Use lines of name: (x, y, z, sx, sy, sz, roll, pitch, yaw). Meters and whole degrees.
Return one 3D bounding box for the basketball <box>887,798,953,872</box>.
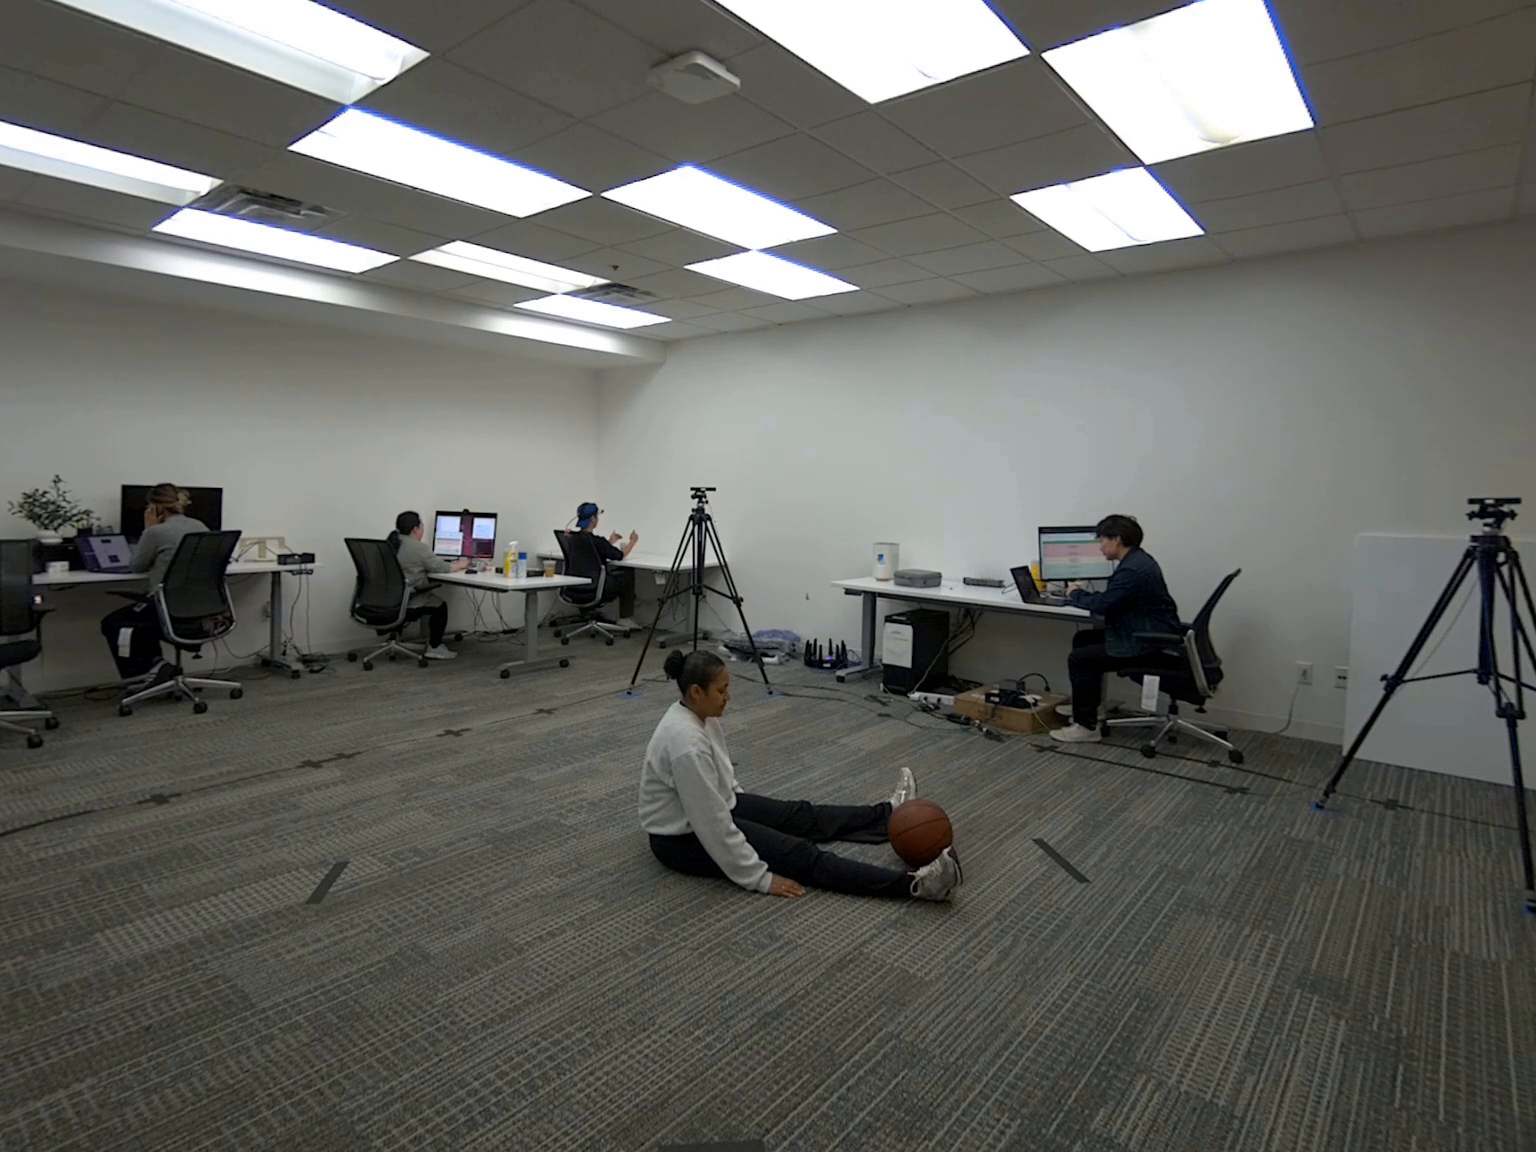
basketball: (0.565, 0.959, 3.196, 0.235, 0.235, 0.237, 1, 4, -2)
